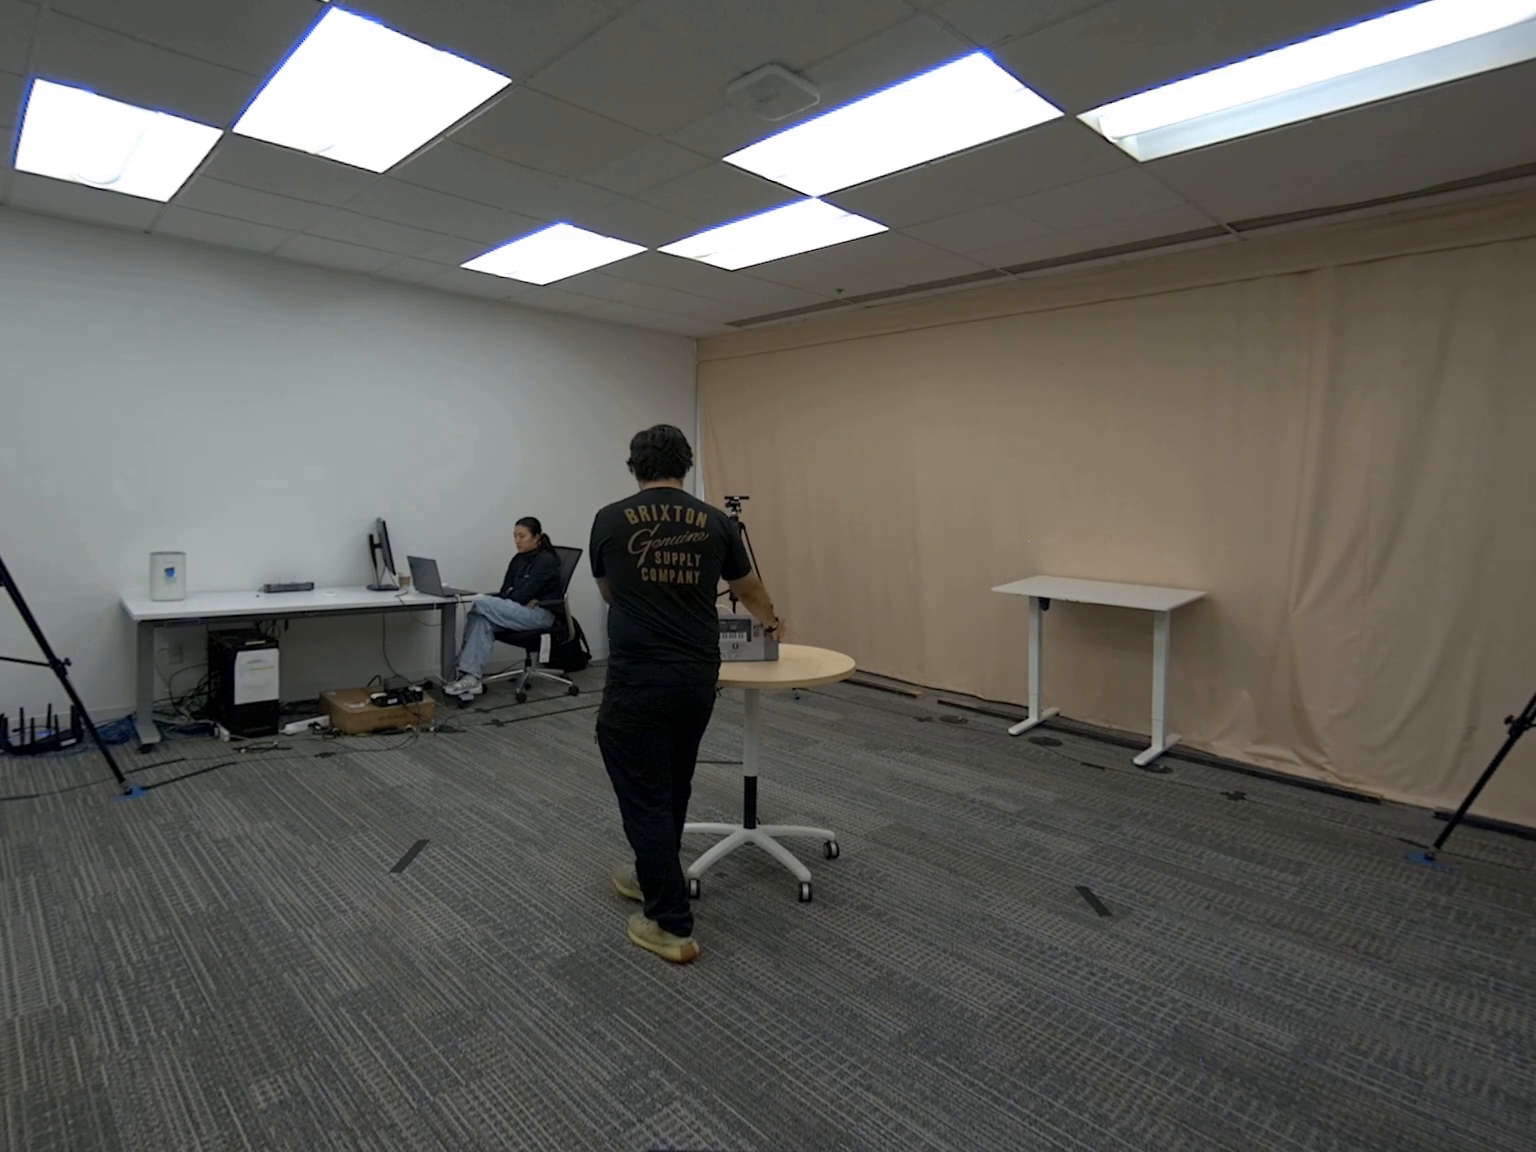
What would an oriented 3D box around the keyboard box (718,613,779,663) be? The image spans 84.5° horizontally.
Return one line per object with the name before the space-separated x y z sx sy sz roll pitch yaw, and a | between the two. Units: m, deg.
keyboard box | -0.182 0.234 3.139 0.433 0.176 0.059 0 -1 -10
